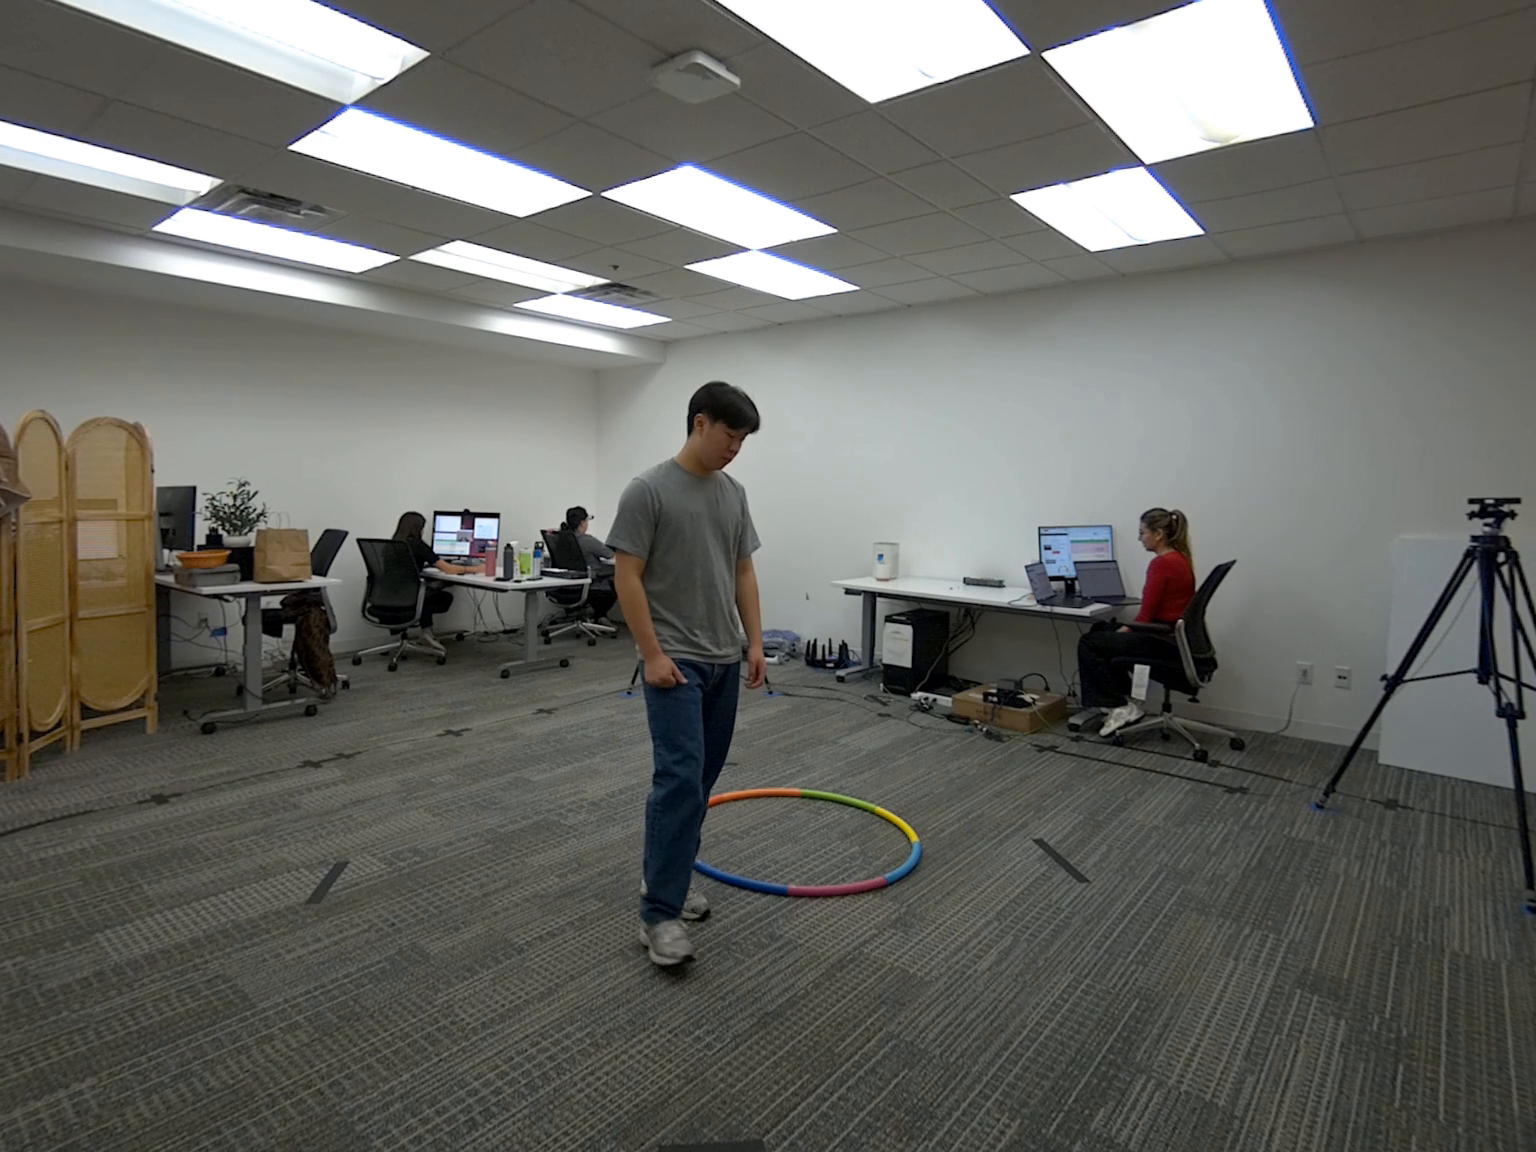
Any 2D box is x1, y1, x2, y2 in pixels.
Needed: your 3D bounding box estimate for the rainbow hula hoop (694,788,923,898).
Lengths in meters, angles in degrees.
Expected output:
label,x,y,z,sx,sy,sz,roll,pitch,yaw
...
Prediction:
label,x,y,z,sx,sy,sz,roll,pitch,yaw
rainbow hula hoop,0.096,1.018,3.381,0.978,0.035,0.984,1,6,-2
